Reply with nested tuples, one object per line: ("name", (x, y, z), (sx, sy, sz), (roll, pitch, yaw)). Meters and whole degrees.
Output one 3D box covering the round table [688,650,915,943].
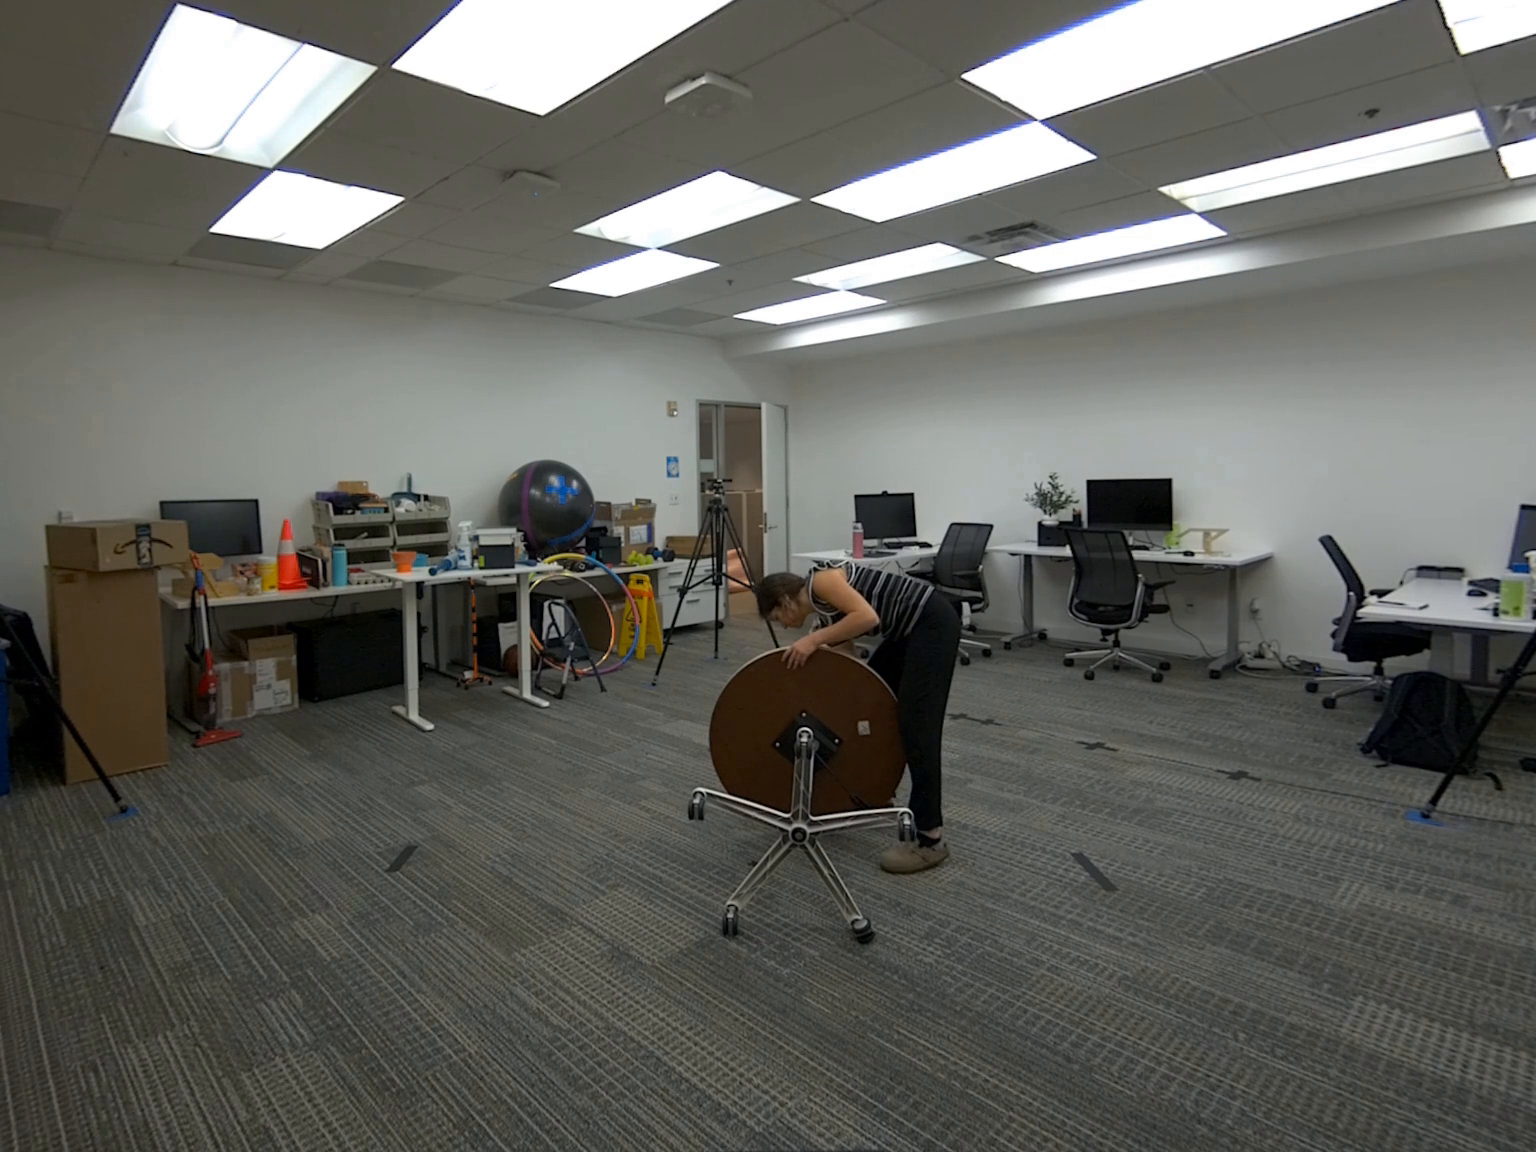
("round table", (0.119, 0.730, 2.913), (0.791, 0.777, 0.789), (0, 12, 7))
